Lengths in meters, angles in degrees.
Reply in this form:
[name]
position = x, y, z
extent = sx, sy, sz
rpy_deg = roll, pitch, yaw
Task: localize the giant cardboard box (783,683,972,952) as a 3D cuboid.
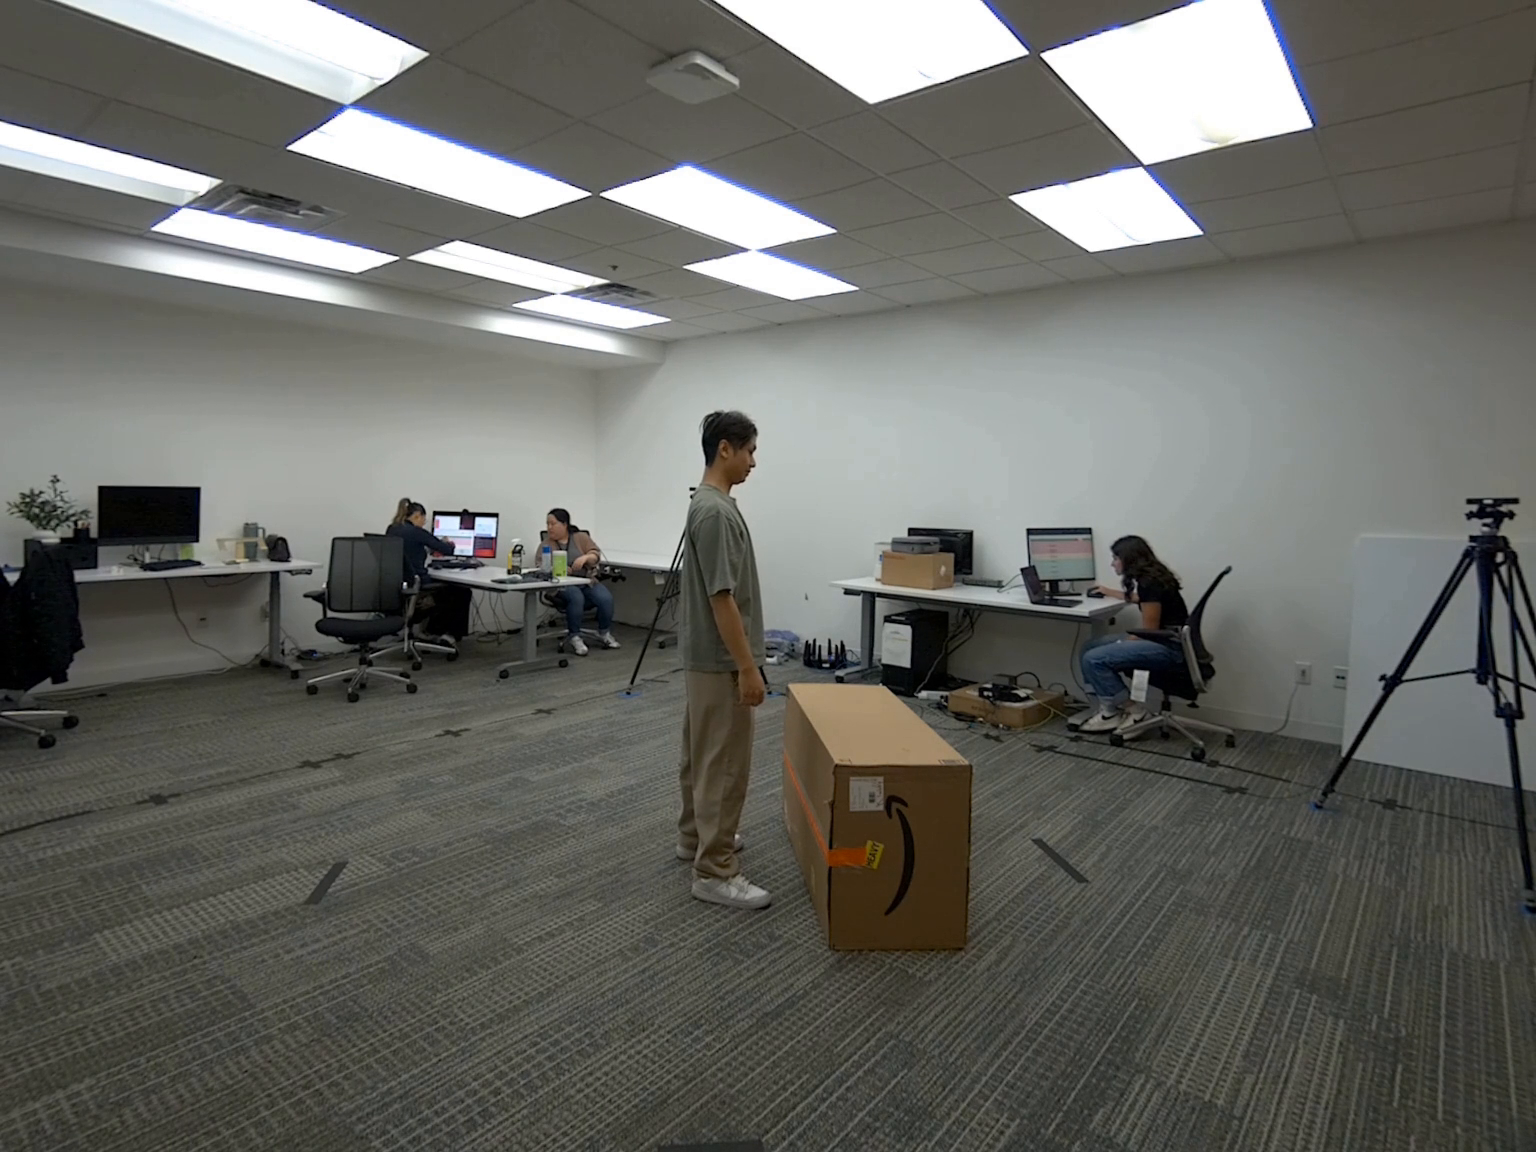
[giant cardboard box]
position = 0.332, 0.786, 3.071
extent = 0.423, 0.575, 1.037
rpy_deg = 0, 5, -7
